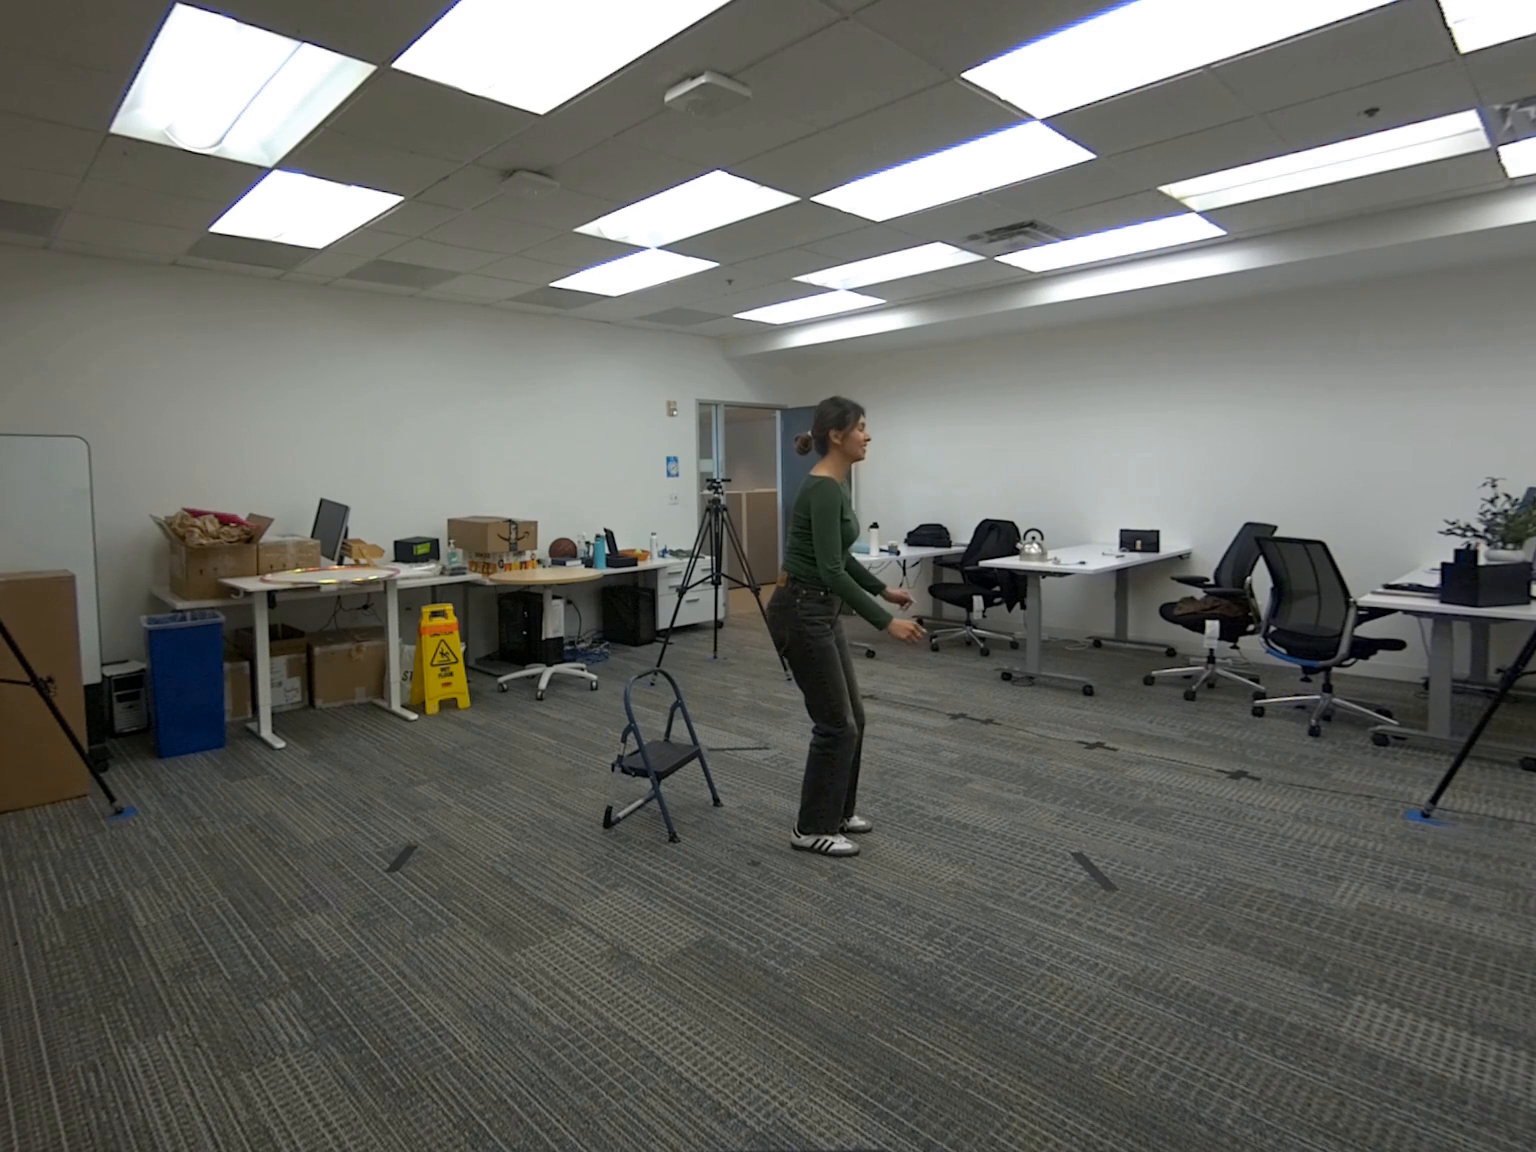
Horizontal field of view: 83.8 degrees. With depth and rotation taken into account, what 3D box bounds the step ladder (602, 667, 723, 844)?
[{"bbox_3d":[-0.440,0.697,3.541,0.357,0.604,0.423,0,4,23],"label":"step ladder"}]
